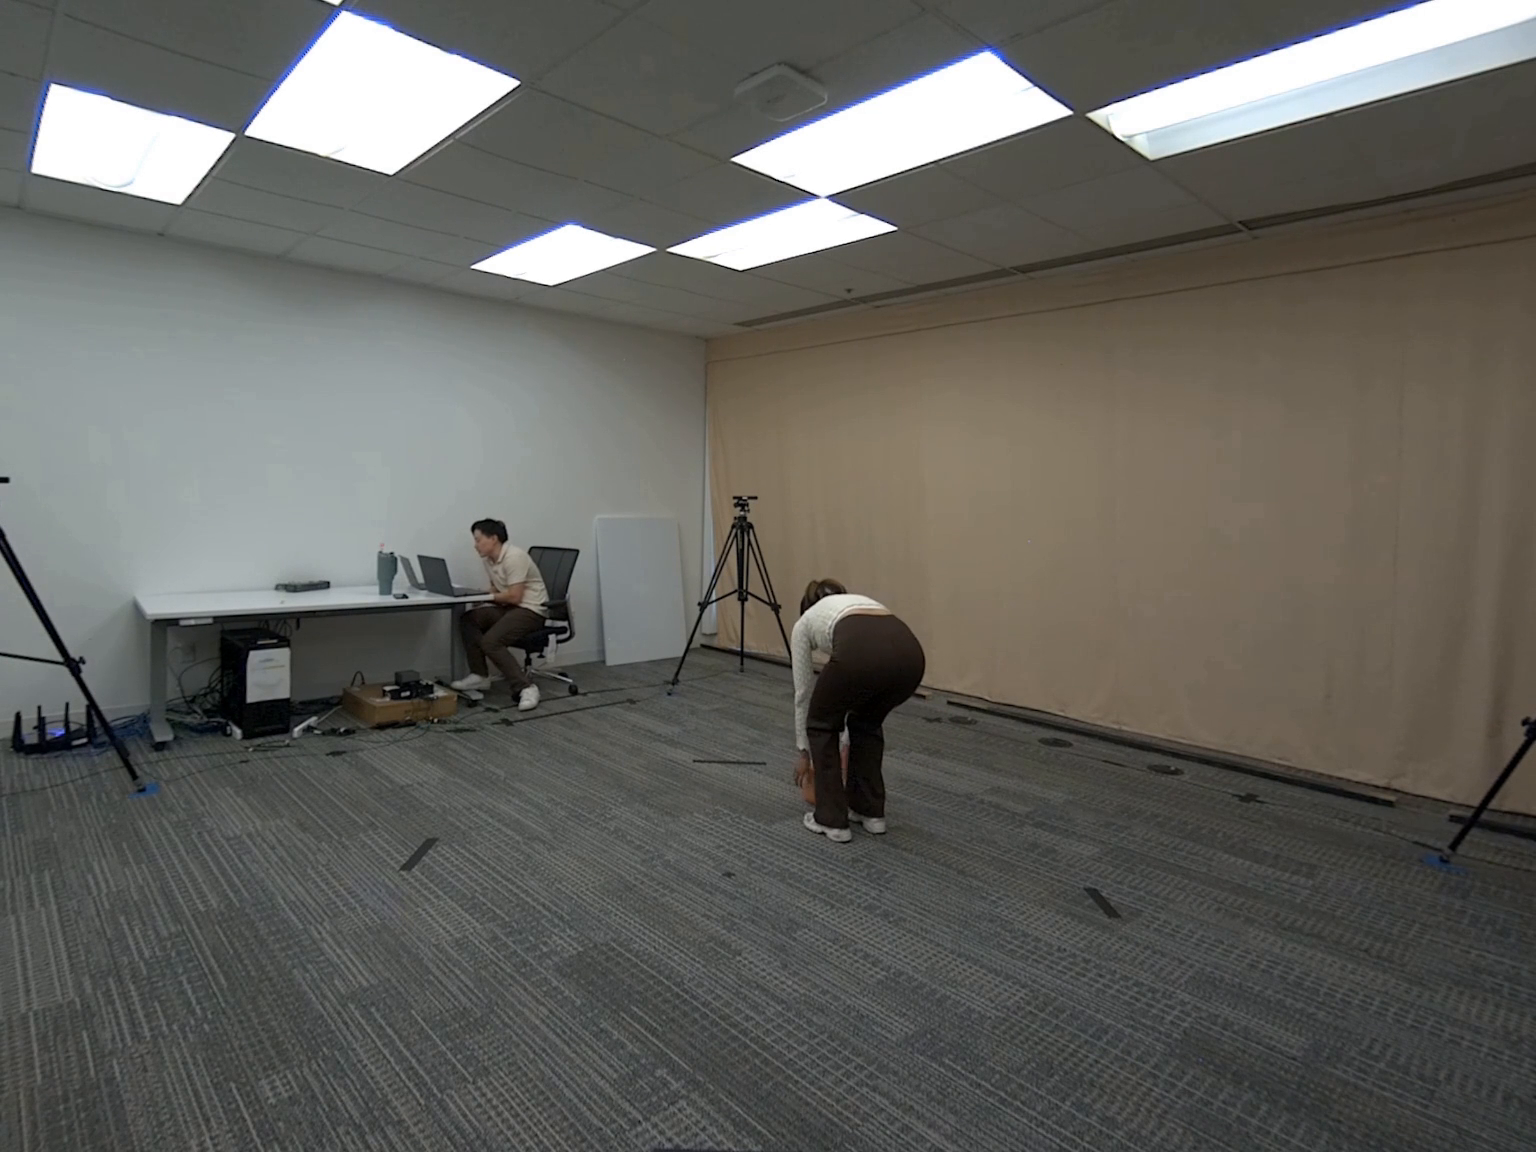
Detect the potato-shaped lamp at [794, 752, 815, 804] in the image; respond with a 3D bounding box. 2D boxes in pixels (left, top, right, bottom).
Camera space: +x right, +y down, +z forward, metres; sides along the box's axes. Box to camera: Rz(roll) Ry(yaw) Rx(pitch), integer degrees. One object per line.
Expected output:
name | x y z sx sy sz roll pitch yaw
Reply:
potato-shaped lamp | 0.227 0.938 3.896 0.162 0.197 0.175 -6 7 -28
